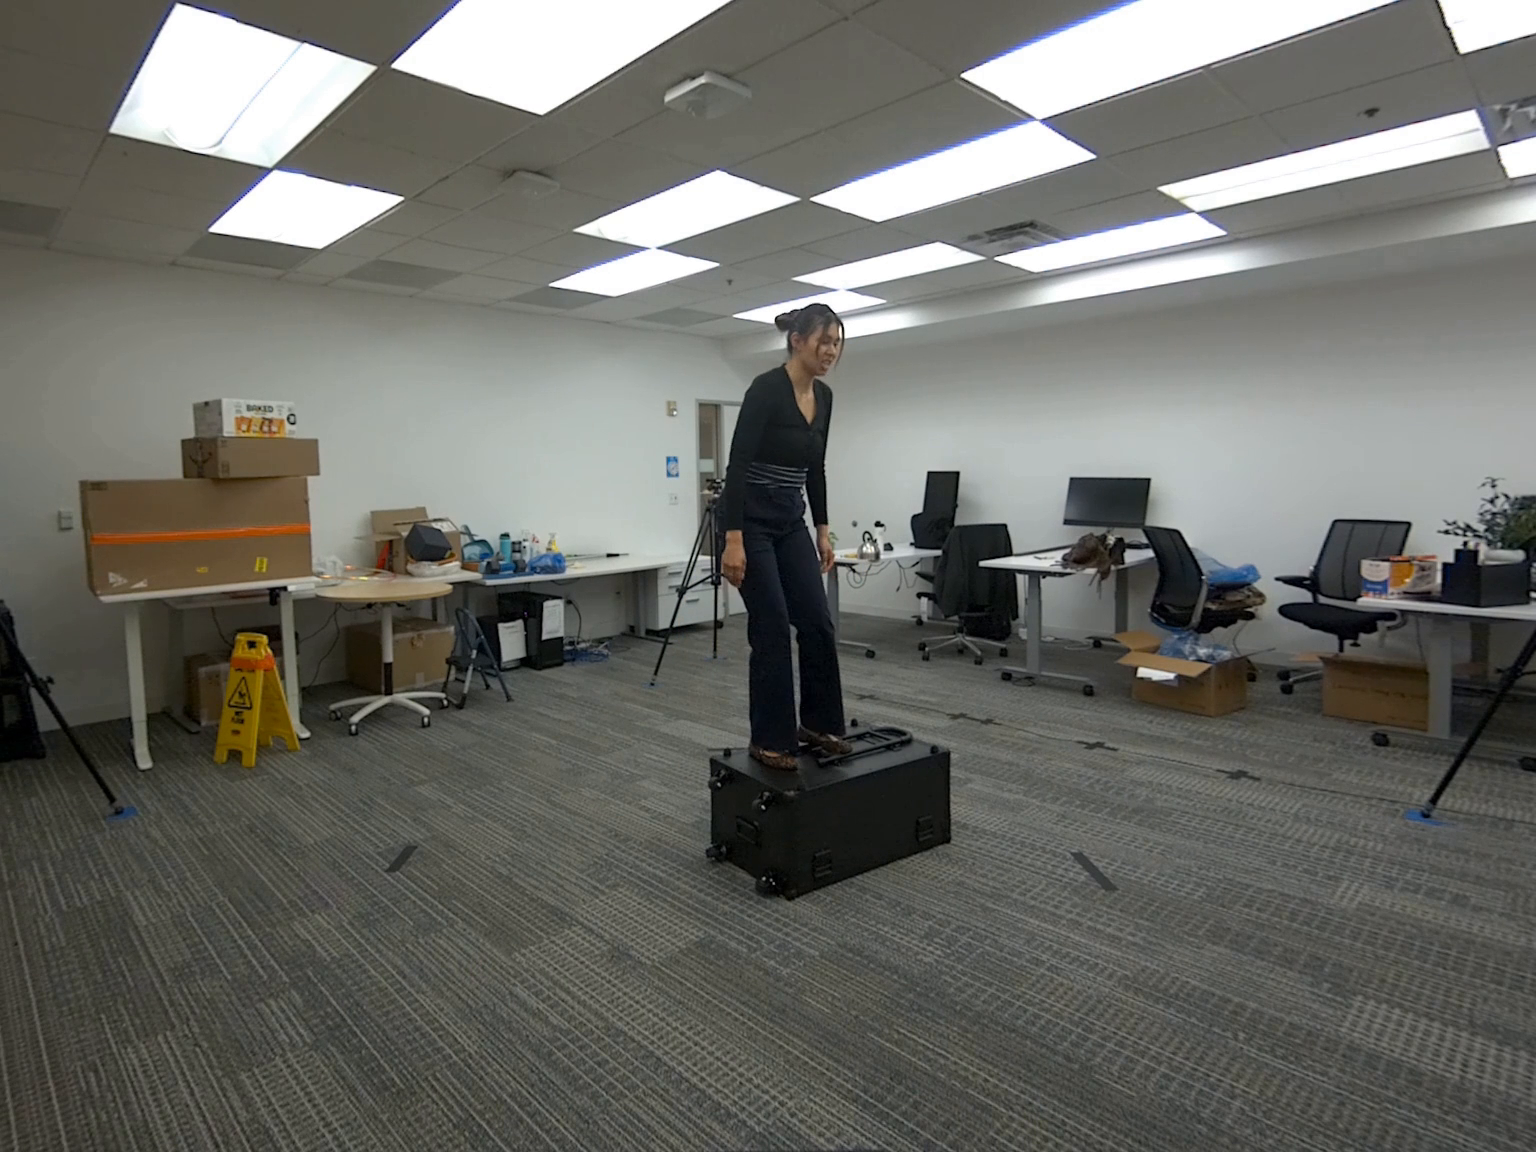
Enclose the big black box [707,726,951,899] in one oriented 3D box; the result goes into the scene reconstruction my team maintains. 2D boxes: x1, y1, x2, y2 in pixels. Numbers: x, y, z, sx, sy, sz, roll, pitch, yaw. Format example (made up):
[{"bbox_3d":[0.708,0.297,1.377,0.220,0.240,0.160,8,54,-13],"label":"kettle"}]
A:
[{"bbox_3d":[0.263,0.850,3.242,0.840,0.394,0.537,-6,7,-35],"label":"big black box"}]
